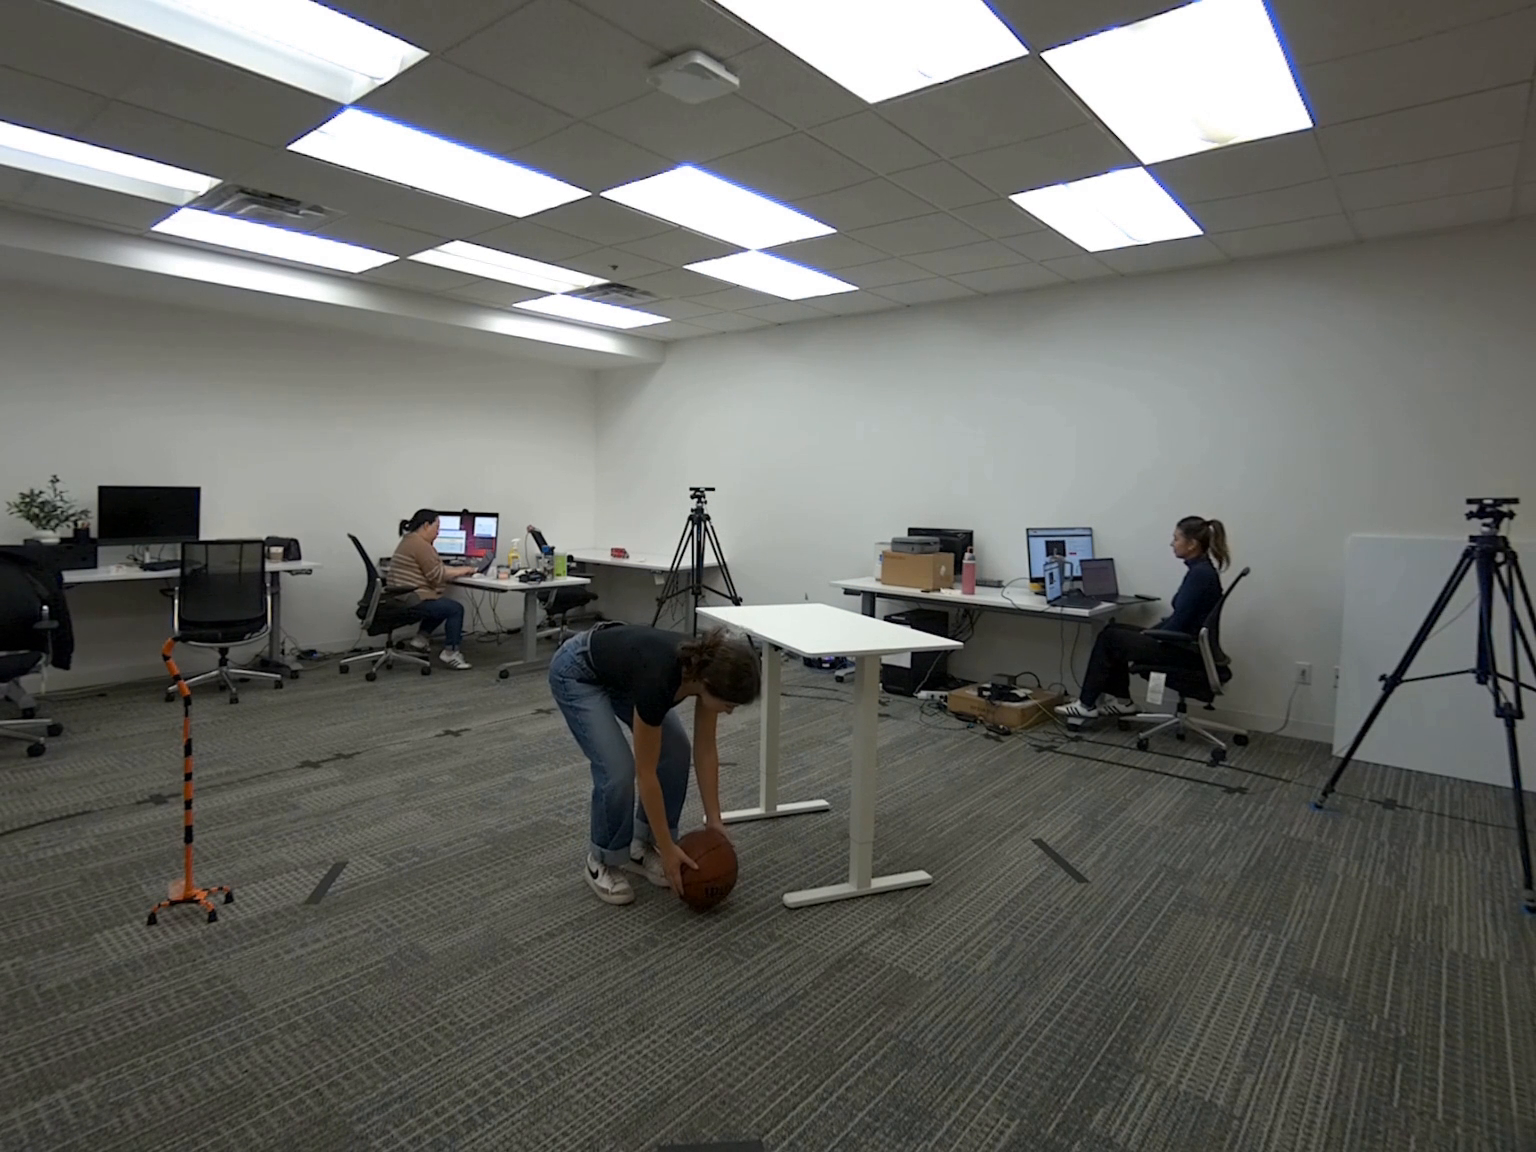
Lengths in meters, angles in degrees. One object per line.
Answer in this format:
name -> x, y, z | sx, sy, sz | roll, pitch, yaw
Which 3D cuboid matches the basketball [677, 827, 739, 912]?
basketball -> -0.229, 0.968, 2.820 | 0.235, 0.235, 0.237 | 1, 4, -2
